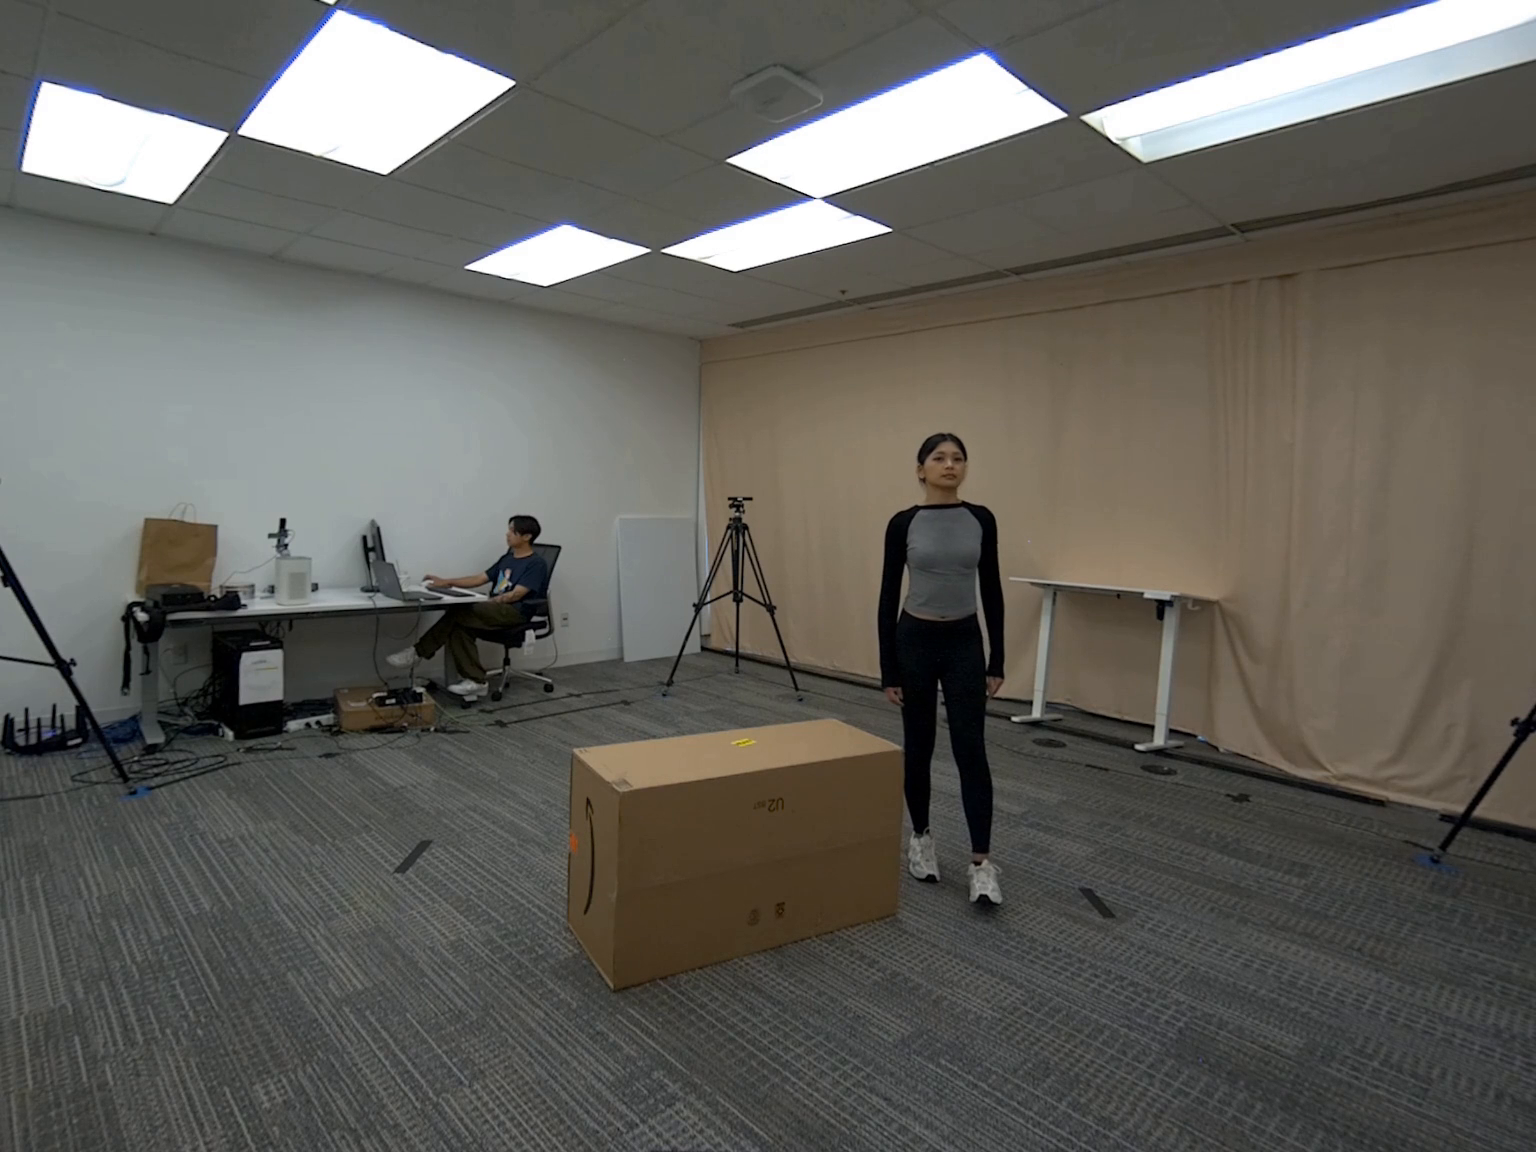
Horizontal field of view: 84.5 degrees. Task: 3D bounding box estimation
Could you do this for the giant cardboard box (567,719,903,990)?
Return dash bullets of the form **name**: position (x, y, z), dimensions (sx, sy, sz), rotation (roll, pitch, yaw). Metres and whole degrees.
- **giant cardboard box**: position (-0.102, 0.851, 2.768), dimensions (1.005, 0.576, 0.436), rotation (-1, 5, -29)
